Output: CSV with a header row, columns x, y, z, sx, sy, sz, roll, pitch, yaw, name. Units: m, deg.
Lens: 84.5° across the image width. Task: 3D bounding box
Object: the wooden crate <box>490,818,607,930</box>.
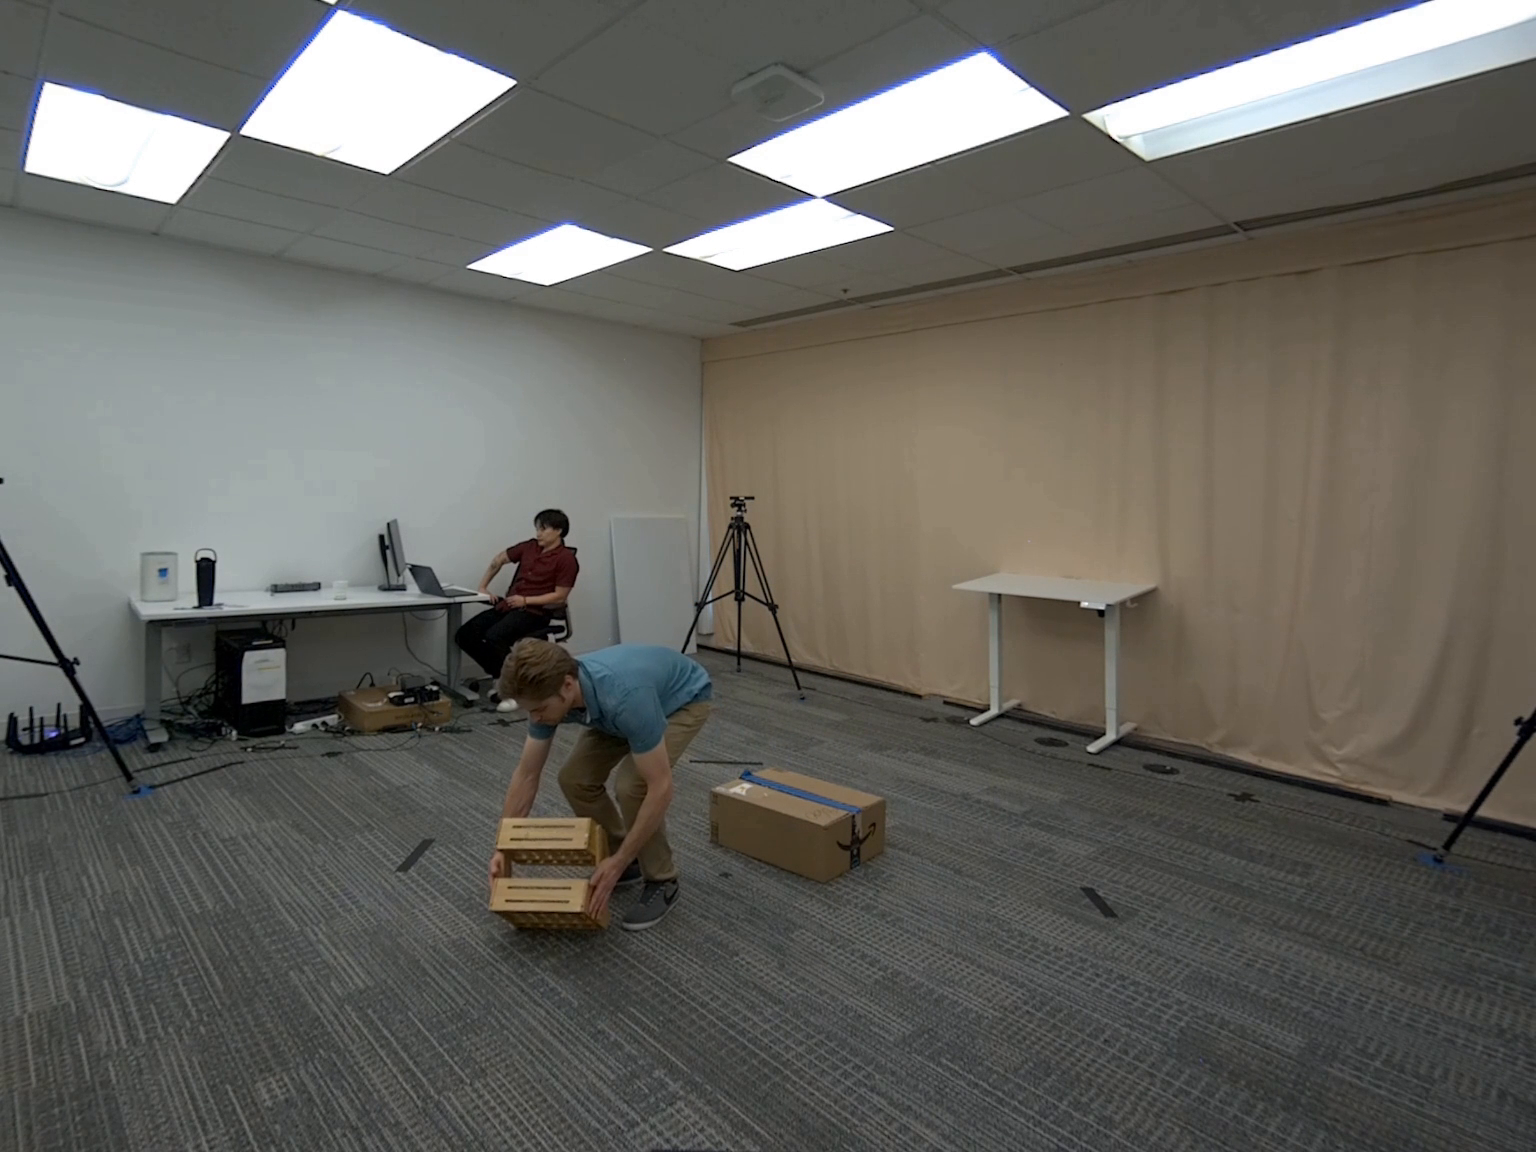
x,y,z,sx,sy,sz,roll,pitch,yaw,name
-0.677,0.942,2.647,0.327,0.278,0.294,-2,-34,9,wooden crate
